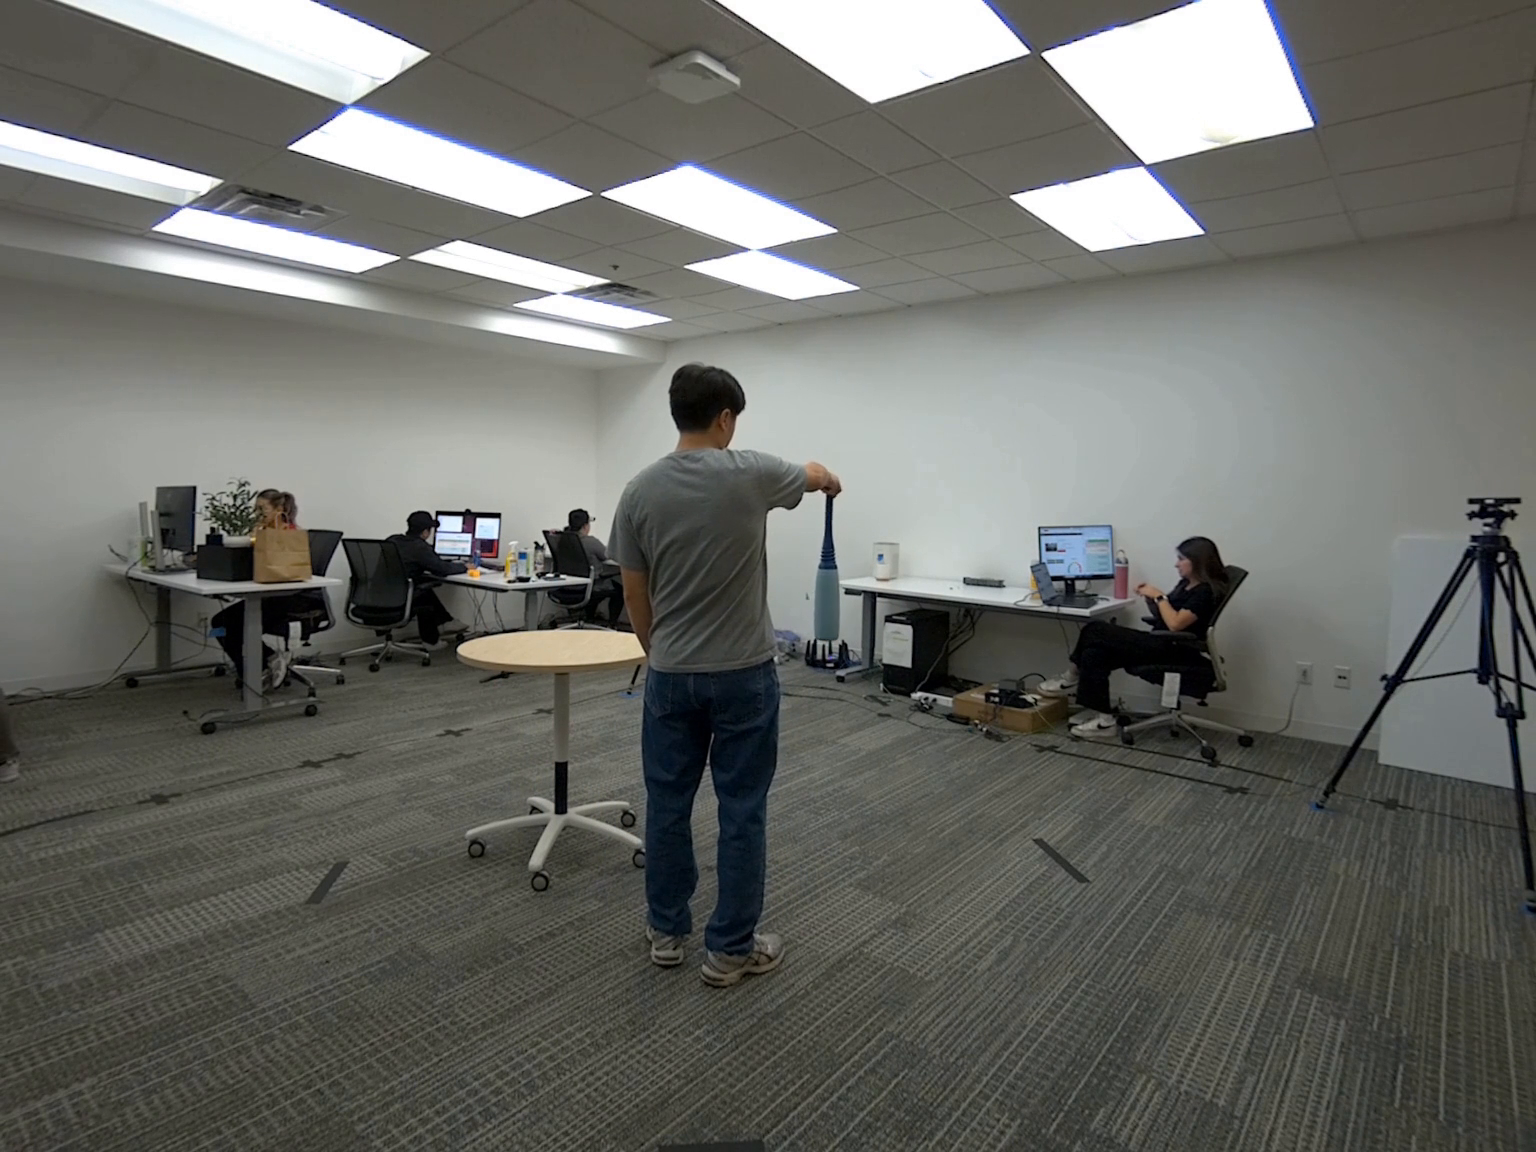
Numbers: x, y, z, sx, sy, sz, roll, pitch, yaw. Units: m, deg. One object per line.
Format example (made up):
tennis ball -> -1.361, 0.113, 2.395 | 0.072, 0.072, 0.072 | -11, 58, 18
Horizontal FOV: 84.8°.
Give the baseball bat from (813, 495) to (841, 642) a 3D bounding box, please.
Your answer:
baseball bat -> 0.200, -0.053, 2.961 | 0.089, 0.542, 0.089 | 1, 2, -2
